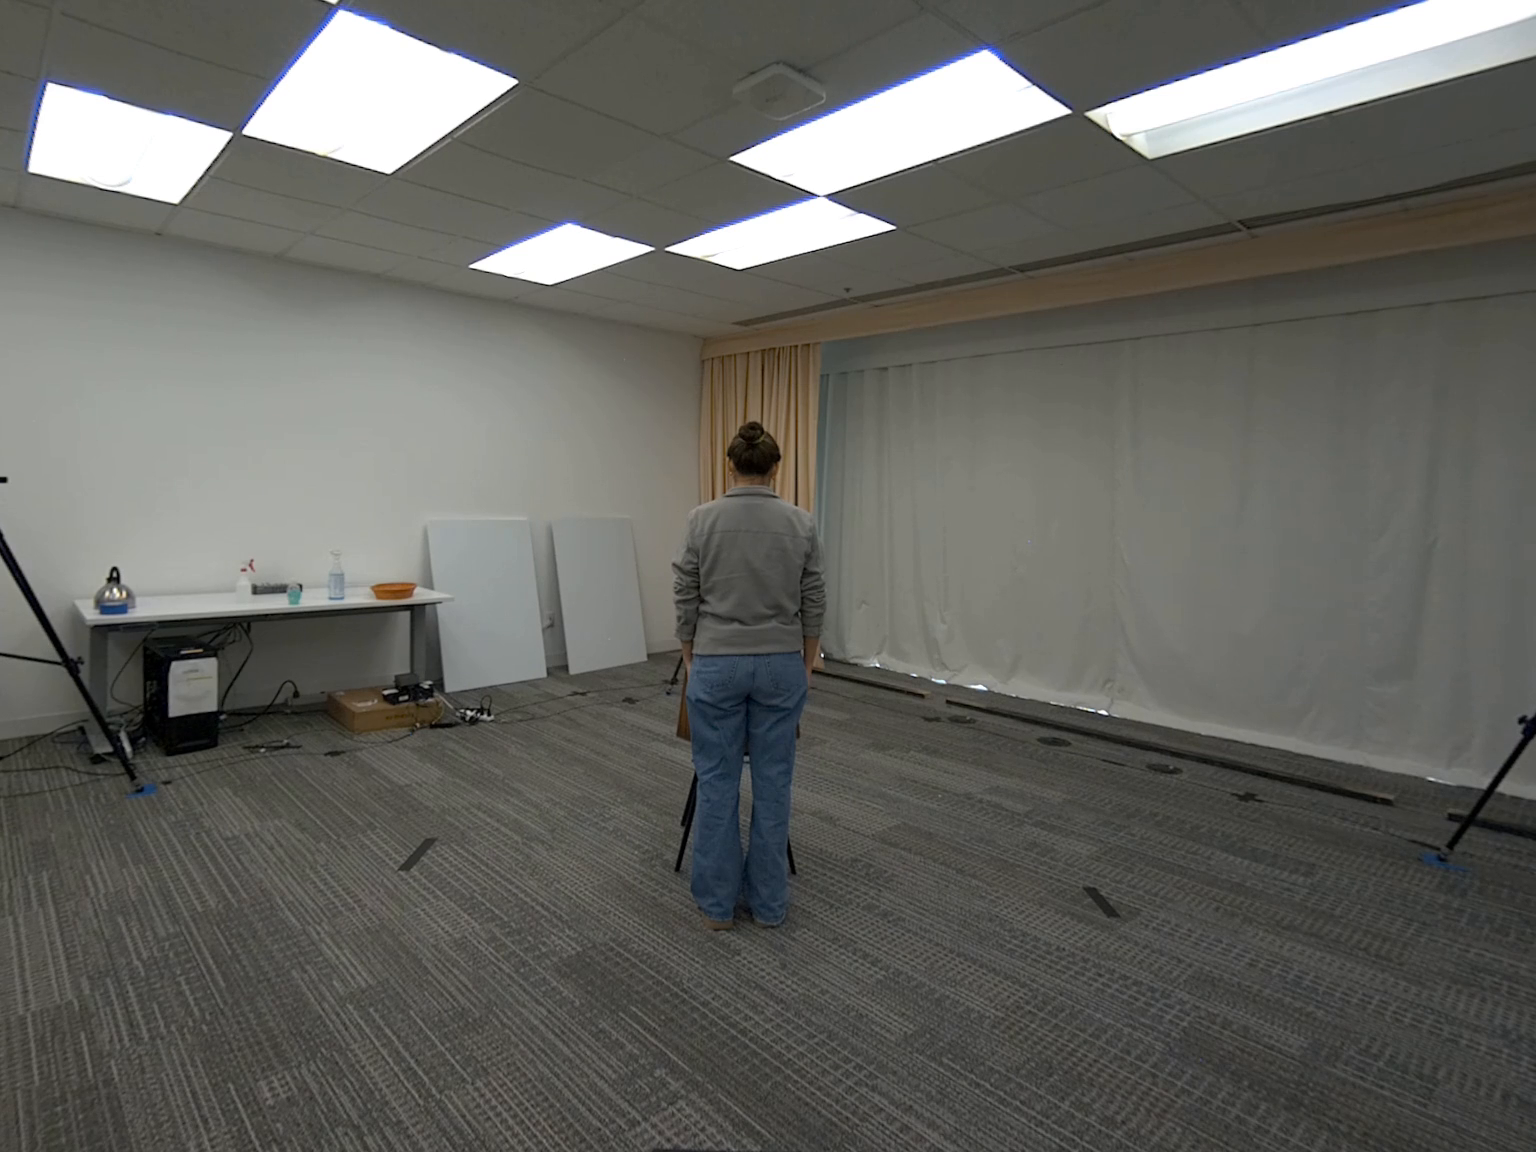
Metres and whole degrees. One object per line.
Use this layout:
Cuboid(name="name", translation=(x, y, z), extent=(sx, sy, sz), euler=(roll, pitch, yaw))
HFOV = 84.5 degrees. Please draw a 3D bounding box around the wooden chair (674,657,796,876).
Cuboid(name="wooden chair", translation=(-0.129, 0.656, 3.316), extent=(0.478, 0.872, 0.526), euler=(0, 8, -1))
